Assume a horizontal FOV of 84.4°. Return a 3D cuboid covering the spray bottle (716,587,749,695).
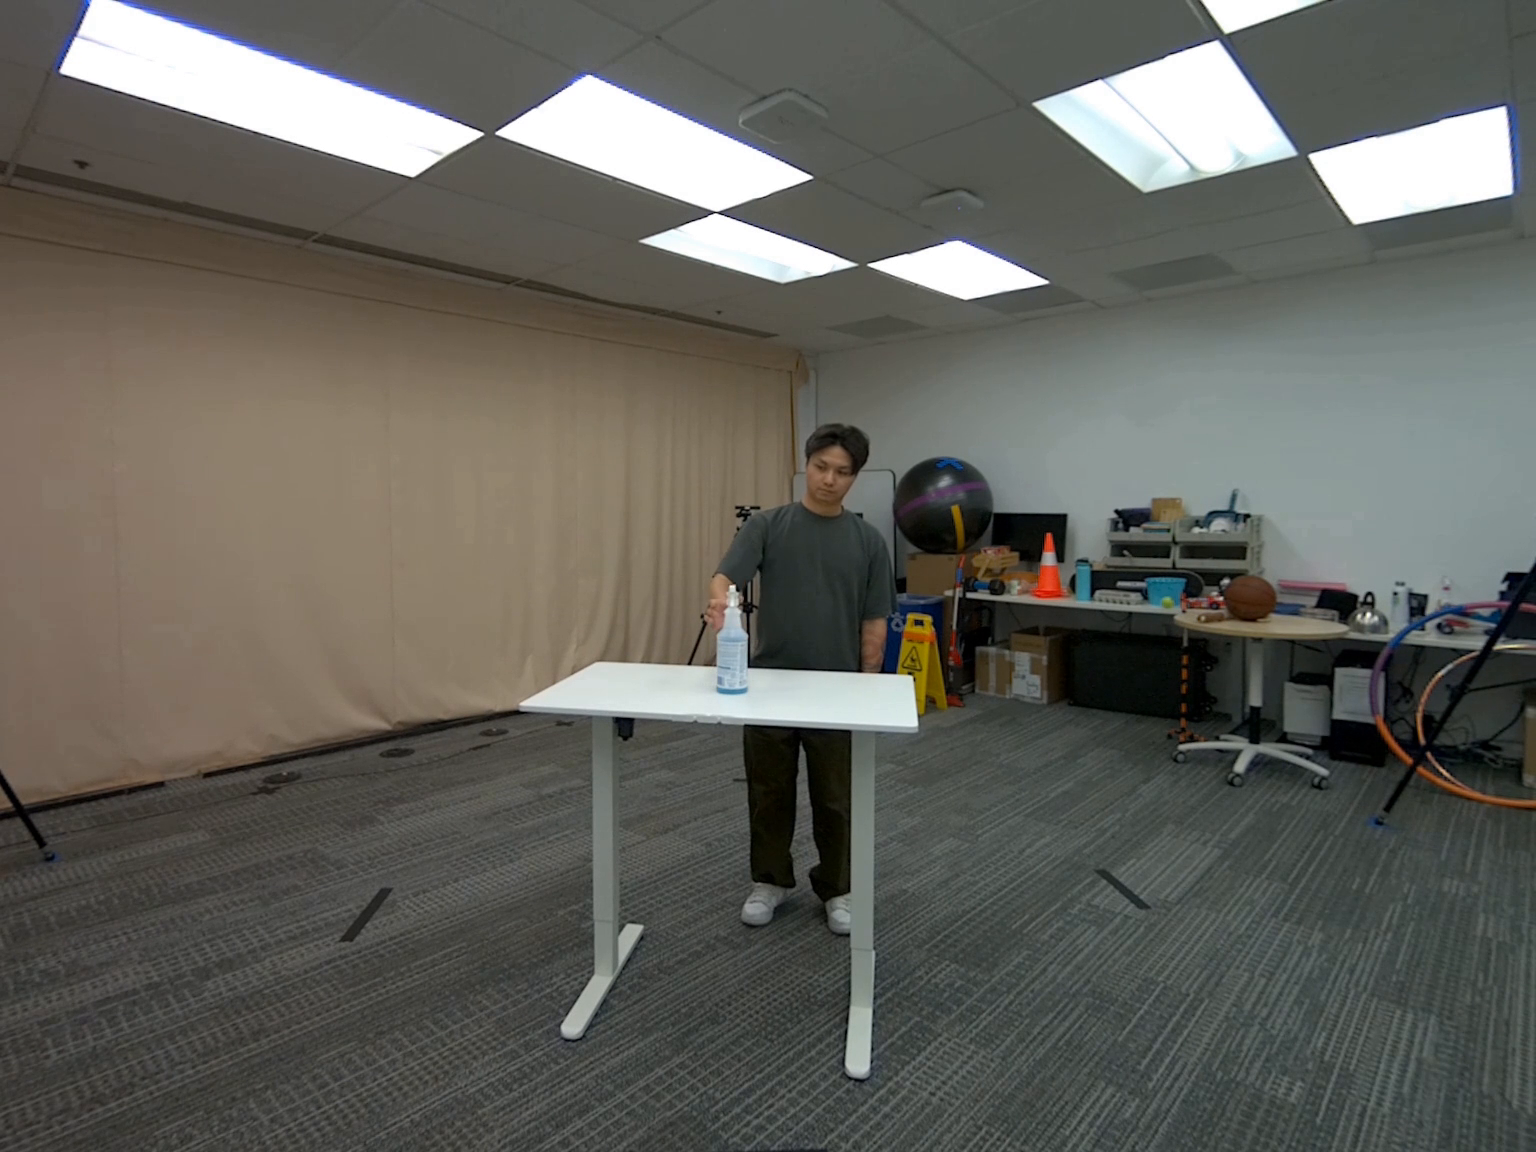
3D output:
[{"bbox_3d":[-0.092,0.175,2.310,0.089,0.296,0.088,3,6,25],"label":"spray bottle"}]
